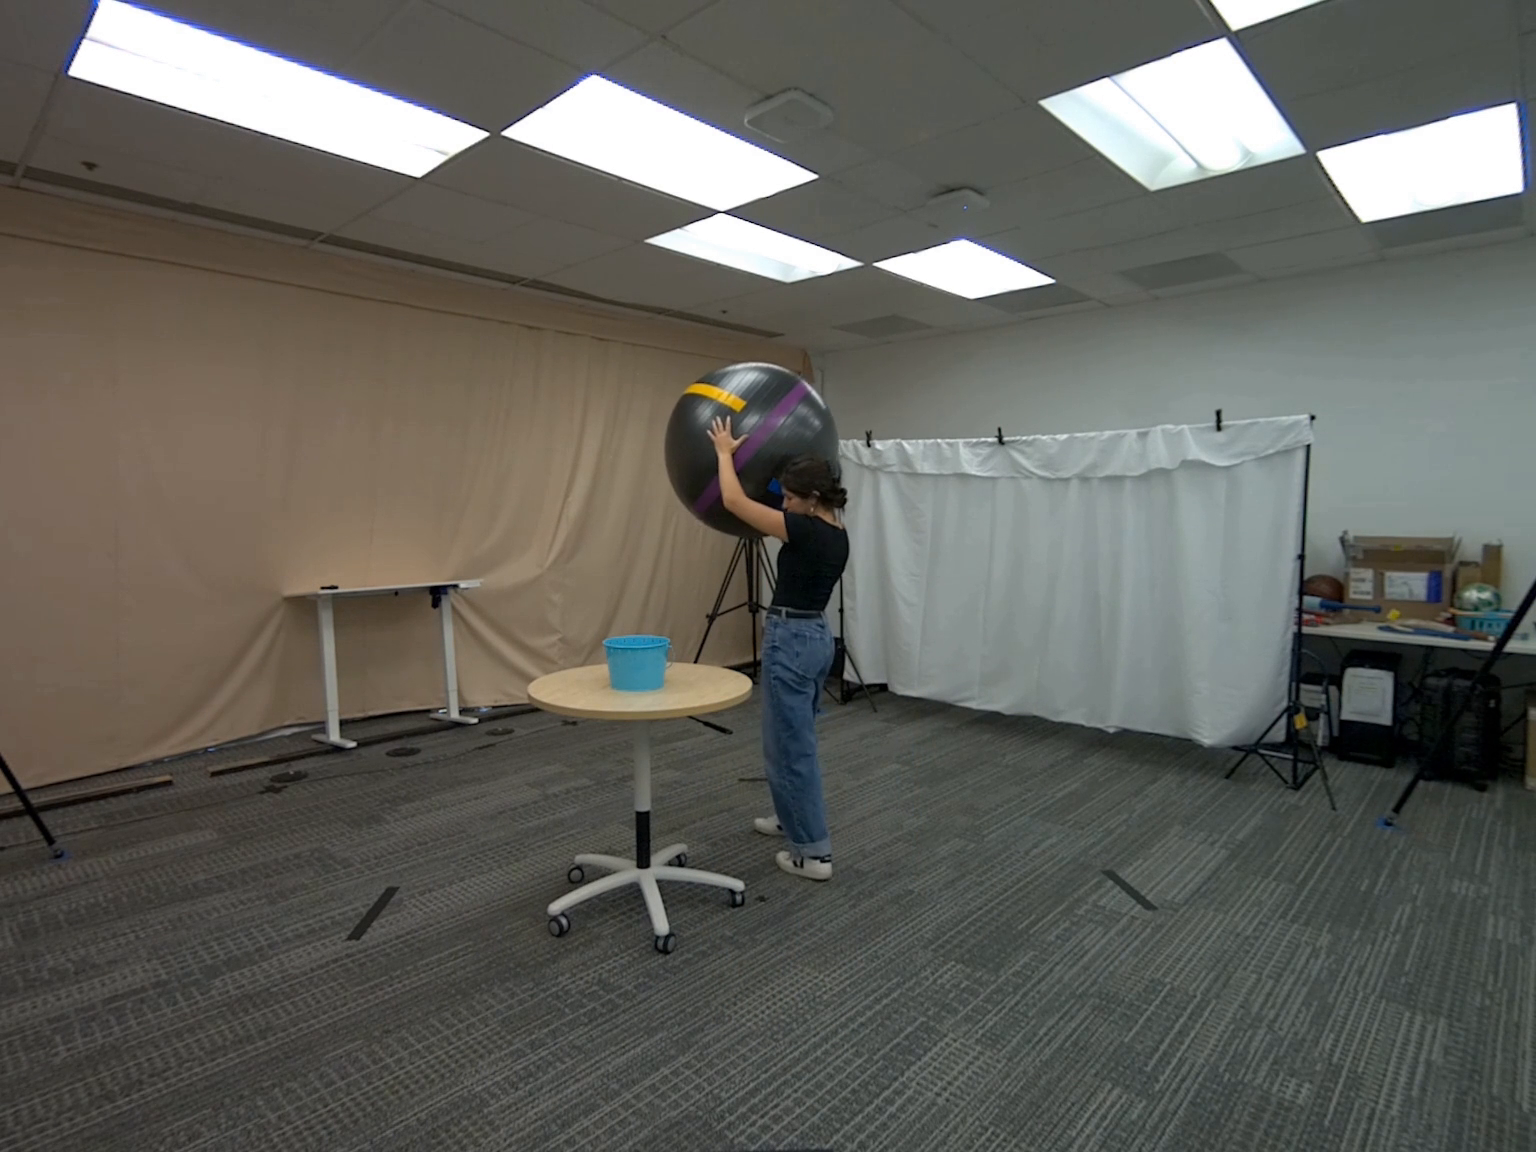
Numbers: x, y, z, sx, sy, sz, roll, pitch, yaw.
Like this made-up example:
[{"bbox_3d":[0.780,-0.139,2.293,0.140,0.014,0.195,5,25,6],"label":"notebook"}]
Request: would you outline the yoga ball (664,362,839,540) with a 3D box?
[{"bbox_3d":[-0.075,-0.537,3.659,0.757,0.756,0.760,0,4,-2],"label":"yoga ball"}]
